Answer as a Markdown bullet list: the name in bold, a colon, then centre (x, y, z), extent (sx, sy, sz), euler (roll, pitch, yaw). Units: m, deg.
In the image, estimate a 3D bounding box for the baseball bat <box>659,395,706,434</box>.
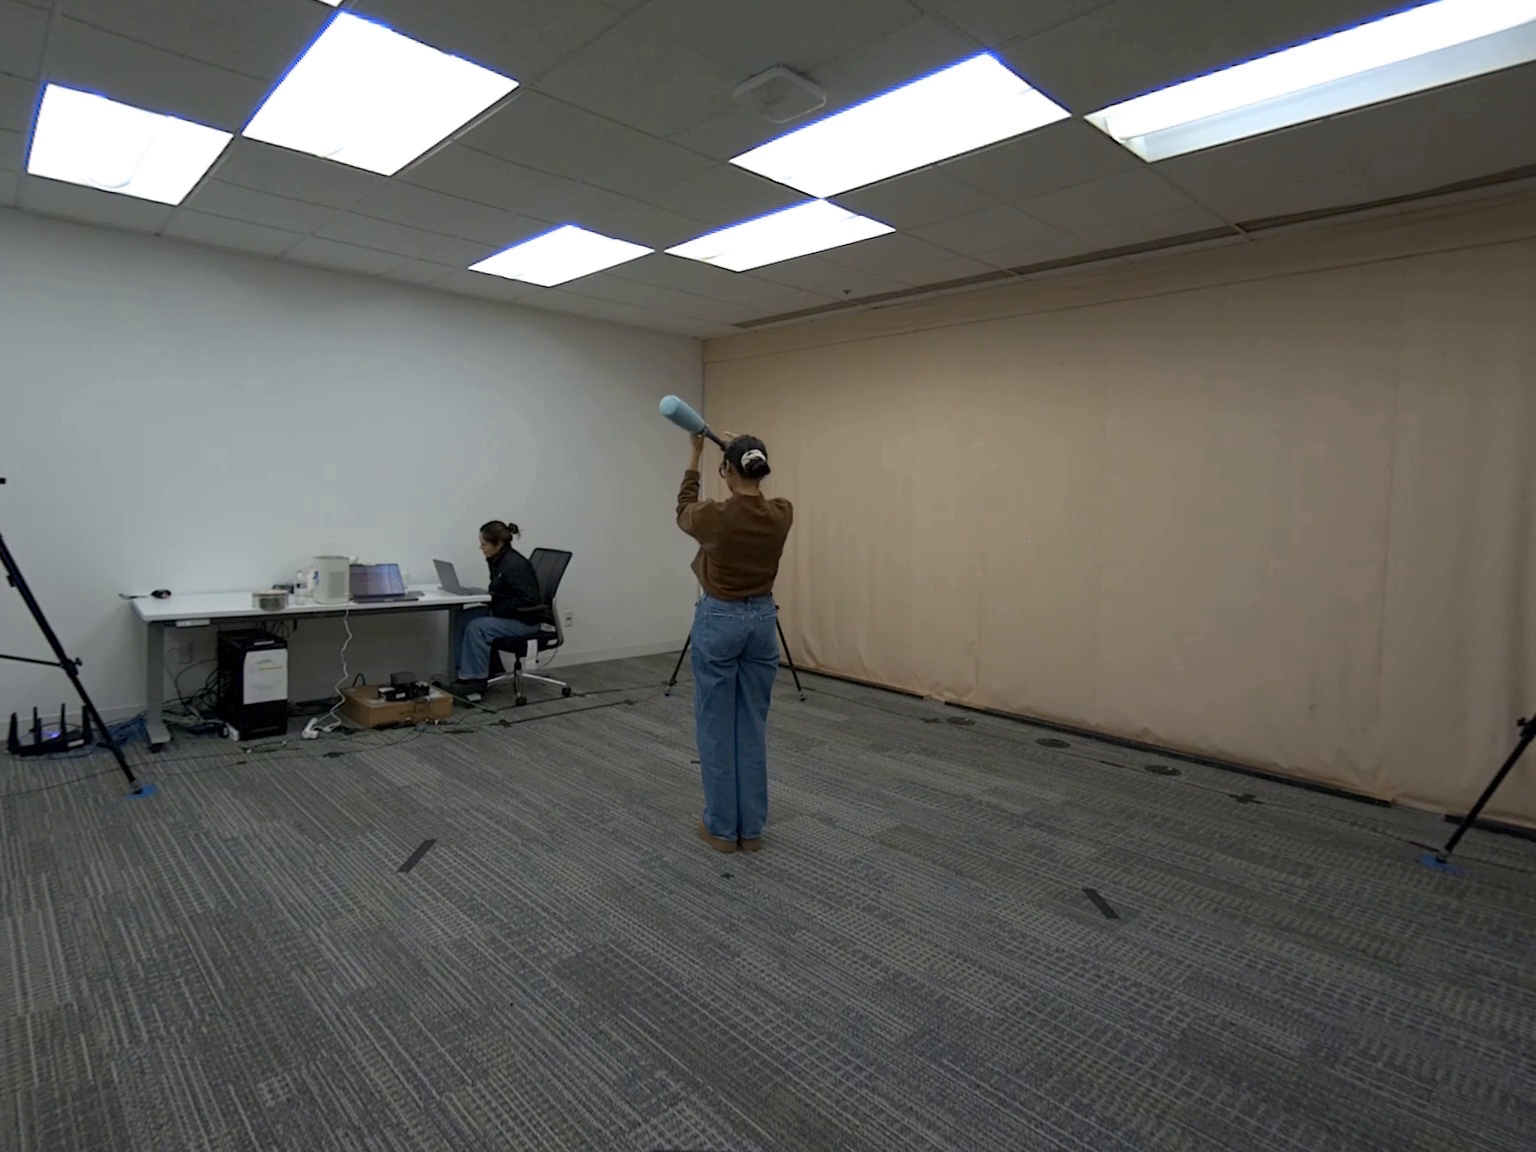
- **baseball bat**: centre (-0.282, -0.604, 3.413), extent (0.090, 0.089, 0.530), euler (3, -7, 22)
